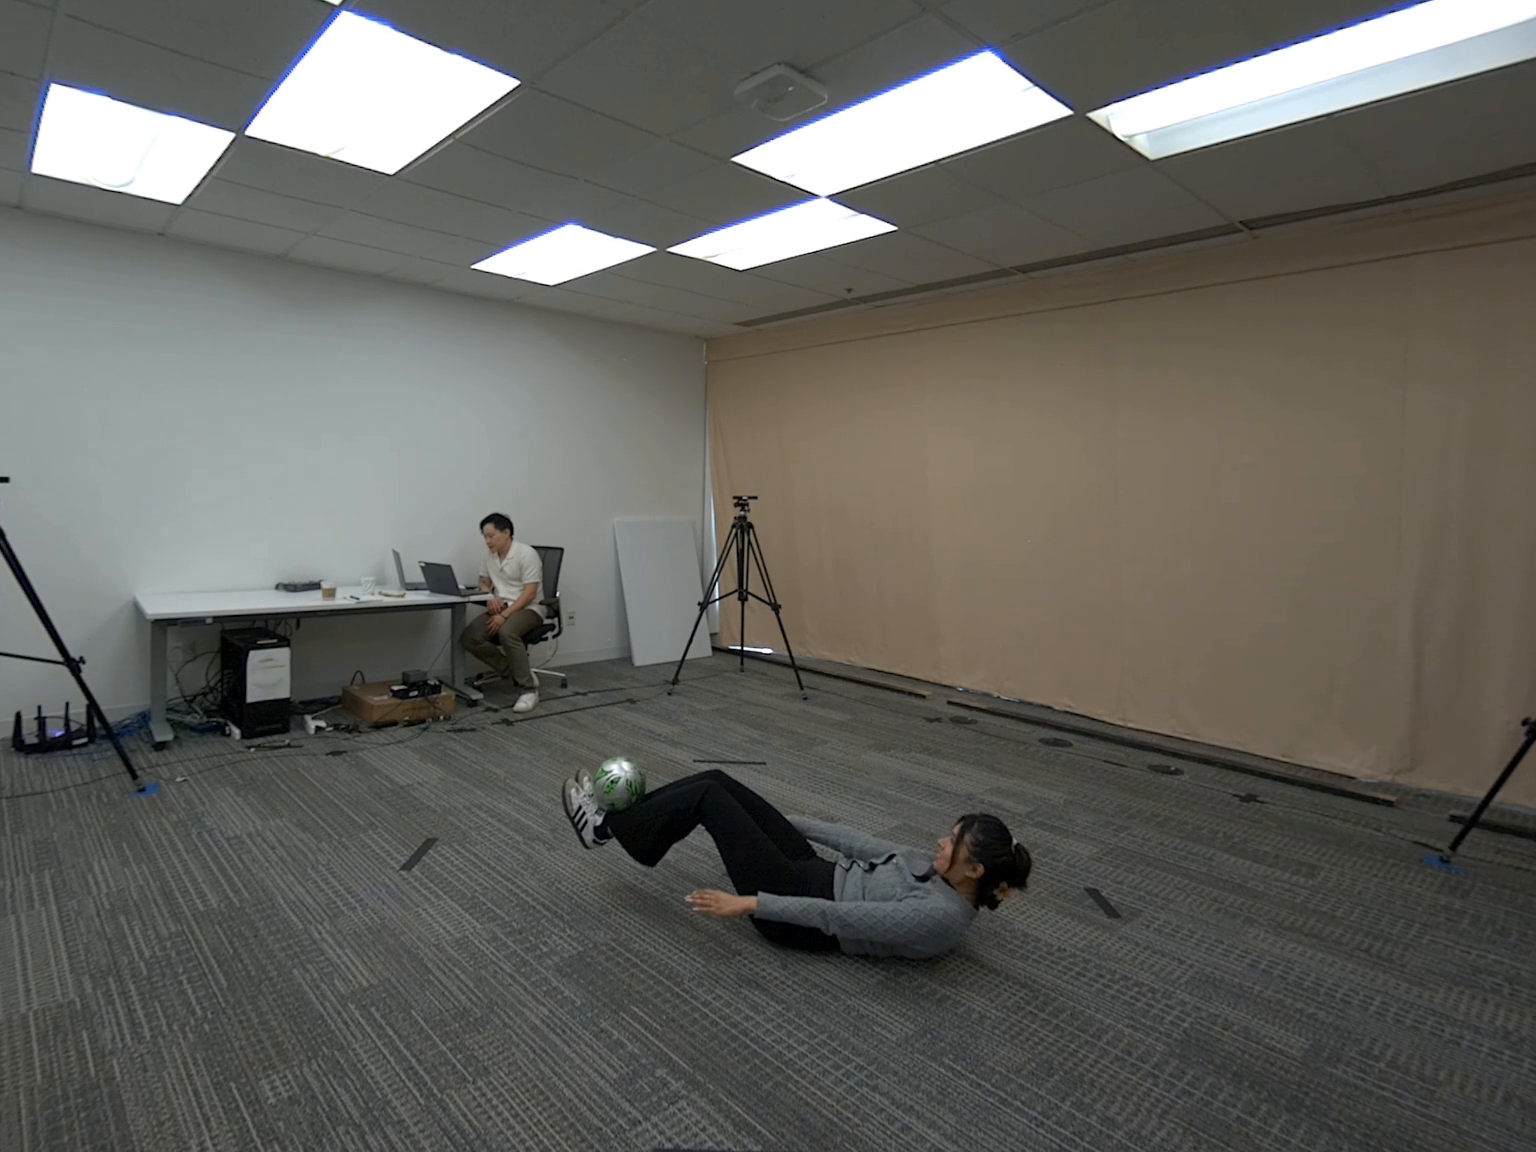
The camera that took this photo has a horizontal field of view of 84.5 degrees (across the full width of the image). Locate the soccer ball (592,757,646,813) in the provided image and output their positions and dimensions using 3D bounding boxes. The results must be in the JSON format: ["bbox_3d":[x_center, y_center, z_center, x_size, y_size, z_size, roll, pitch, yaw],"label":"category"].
[{"bbox_3d":[-0.521,0.721,2.899,0.187,0.187,0.188,1,4,-1],"label":"soccer ball"}]
